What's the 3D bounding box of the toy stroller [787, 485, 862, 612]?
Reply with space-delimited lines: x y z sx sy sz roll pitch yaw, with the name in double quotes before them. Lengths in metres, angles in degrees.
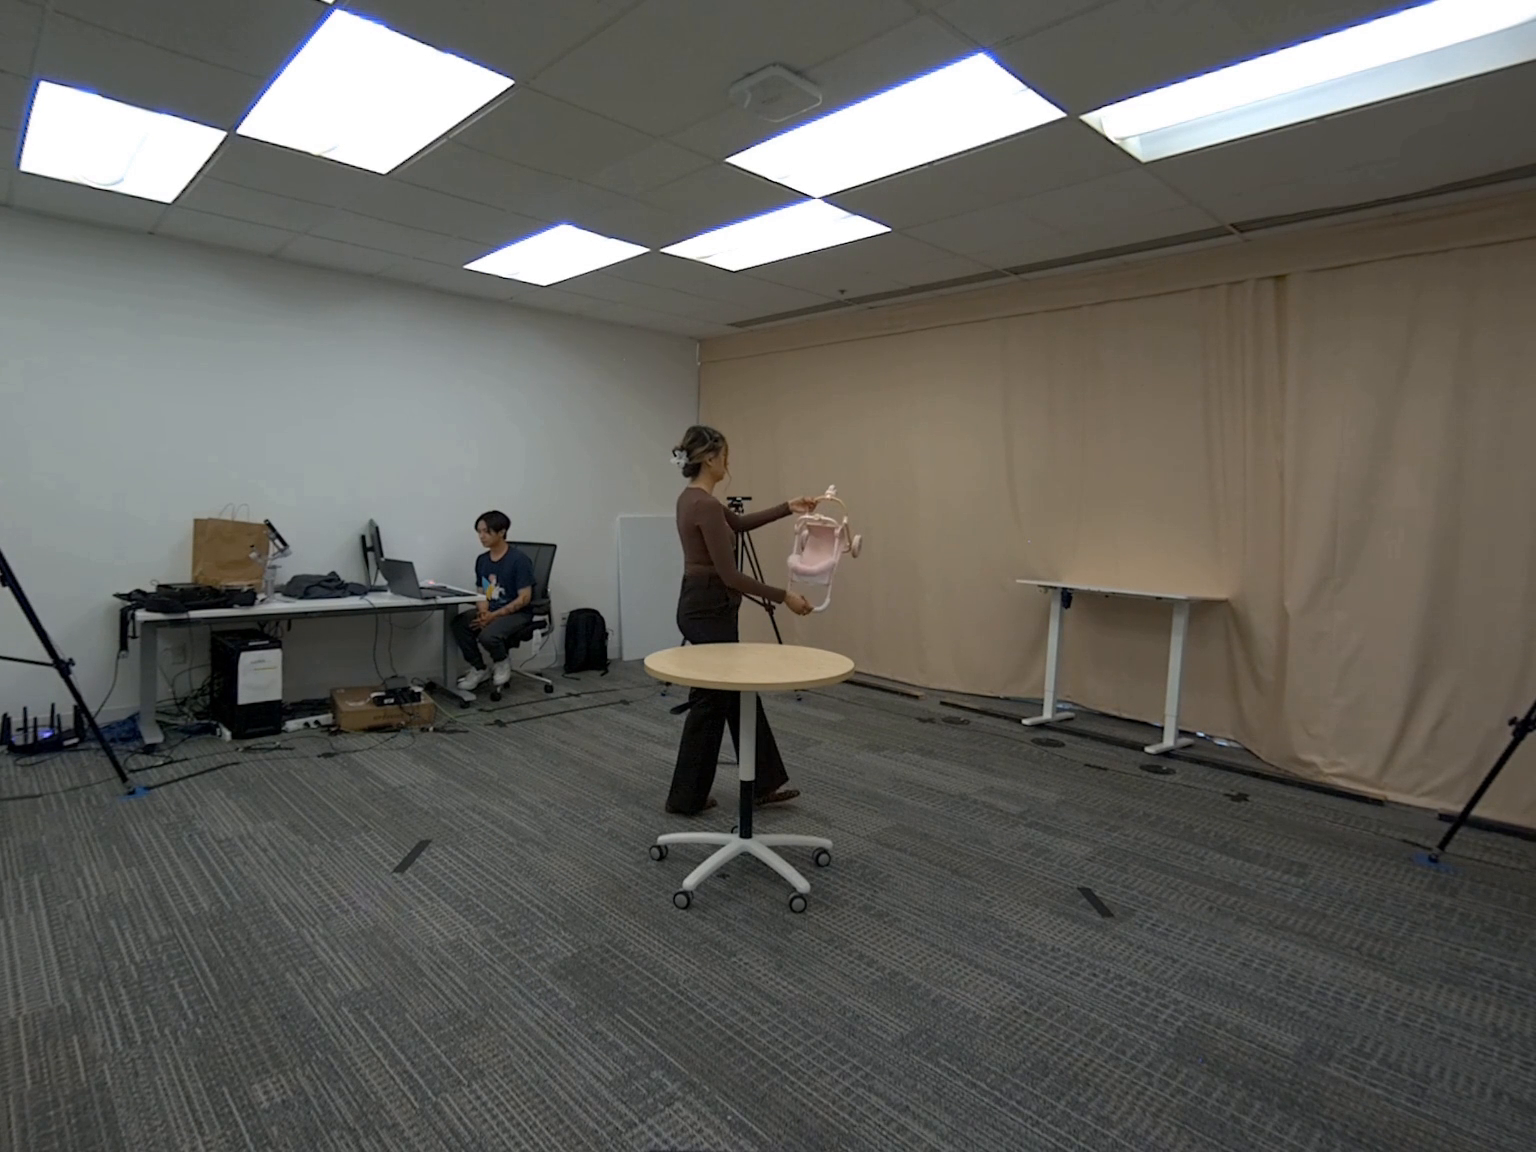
"toy stroller" 0.222 -0.135 3.812 0.286 0.333 0.539 10 43 18
